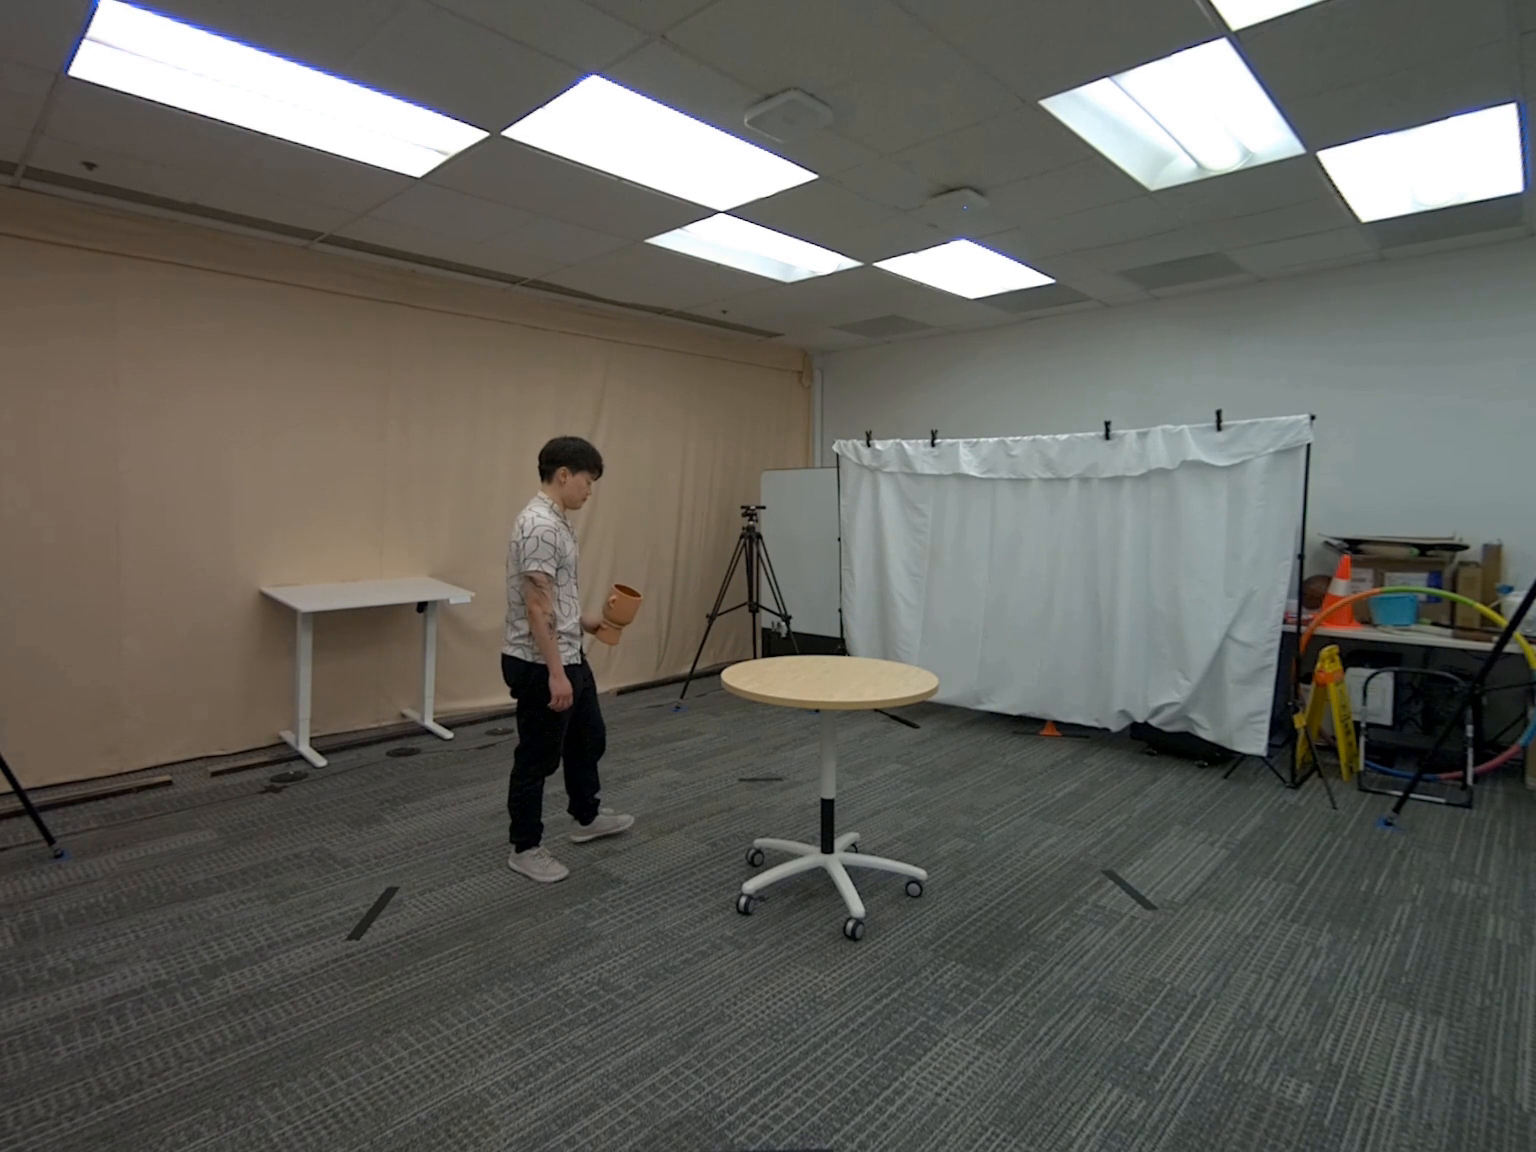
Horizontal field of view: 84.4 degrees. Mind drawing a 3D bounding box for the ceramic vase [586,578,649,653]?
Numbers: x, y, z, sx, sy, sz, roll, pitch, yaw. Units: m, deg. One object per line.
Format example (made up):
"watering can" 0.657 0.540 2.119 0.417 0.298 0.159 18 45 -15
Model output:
"ceramic vase" -0.602 0.153 3.327 0.154 0.219 0.139 20 10 -27
